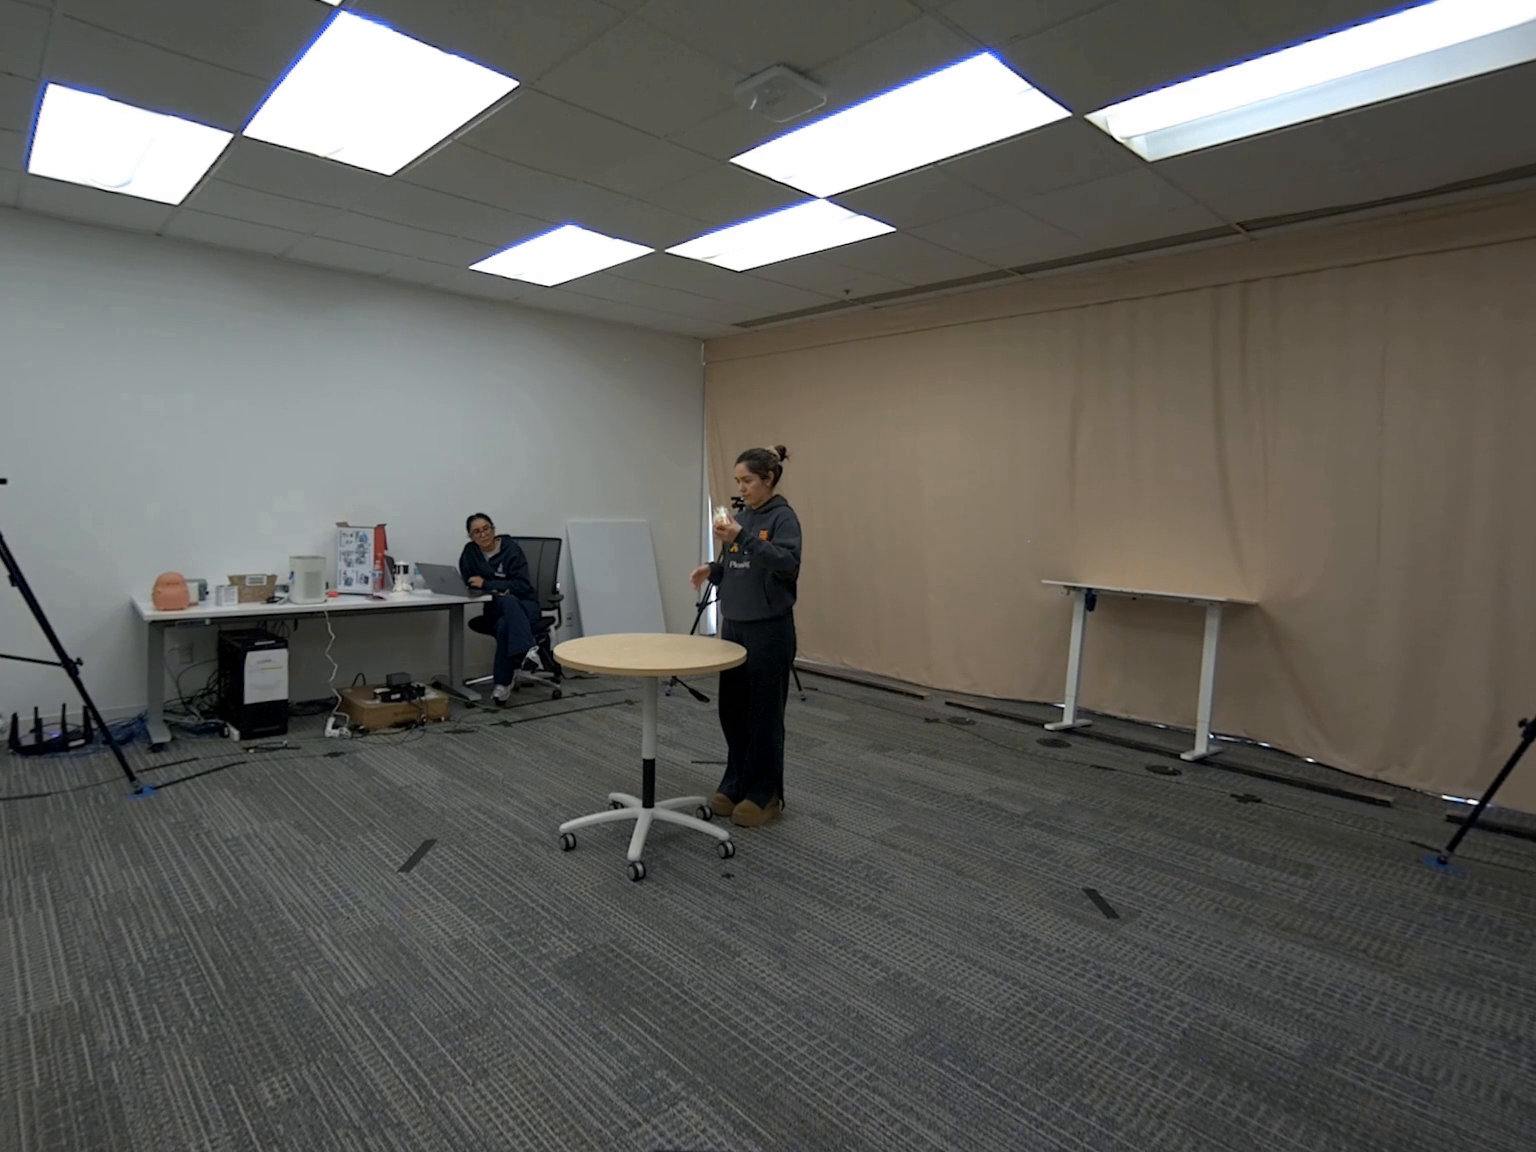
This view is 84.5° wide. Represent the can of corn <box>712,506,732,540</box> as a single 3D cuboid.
[{"bbox_3d":[-0.184,-0.214,3.386,0.074,0.073,0.113,1,46,-5],"label":"can of corn"}]
